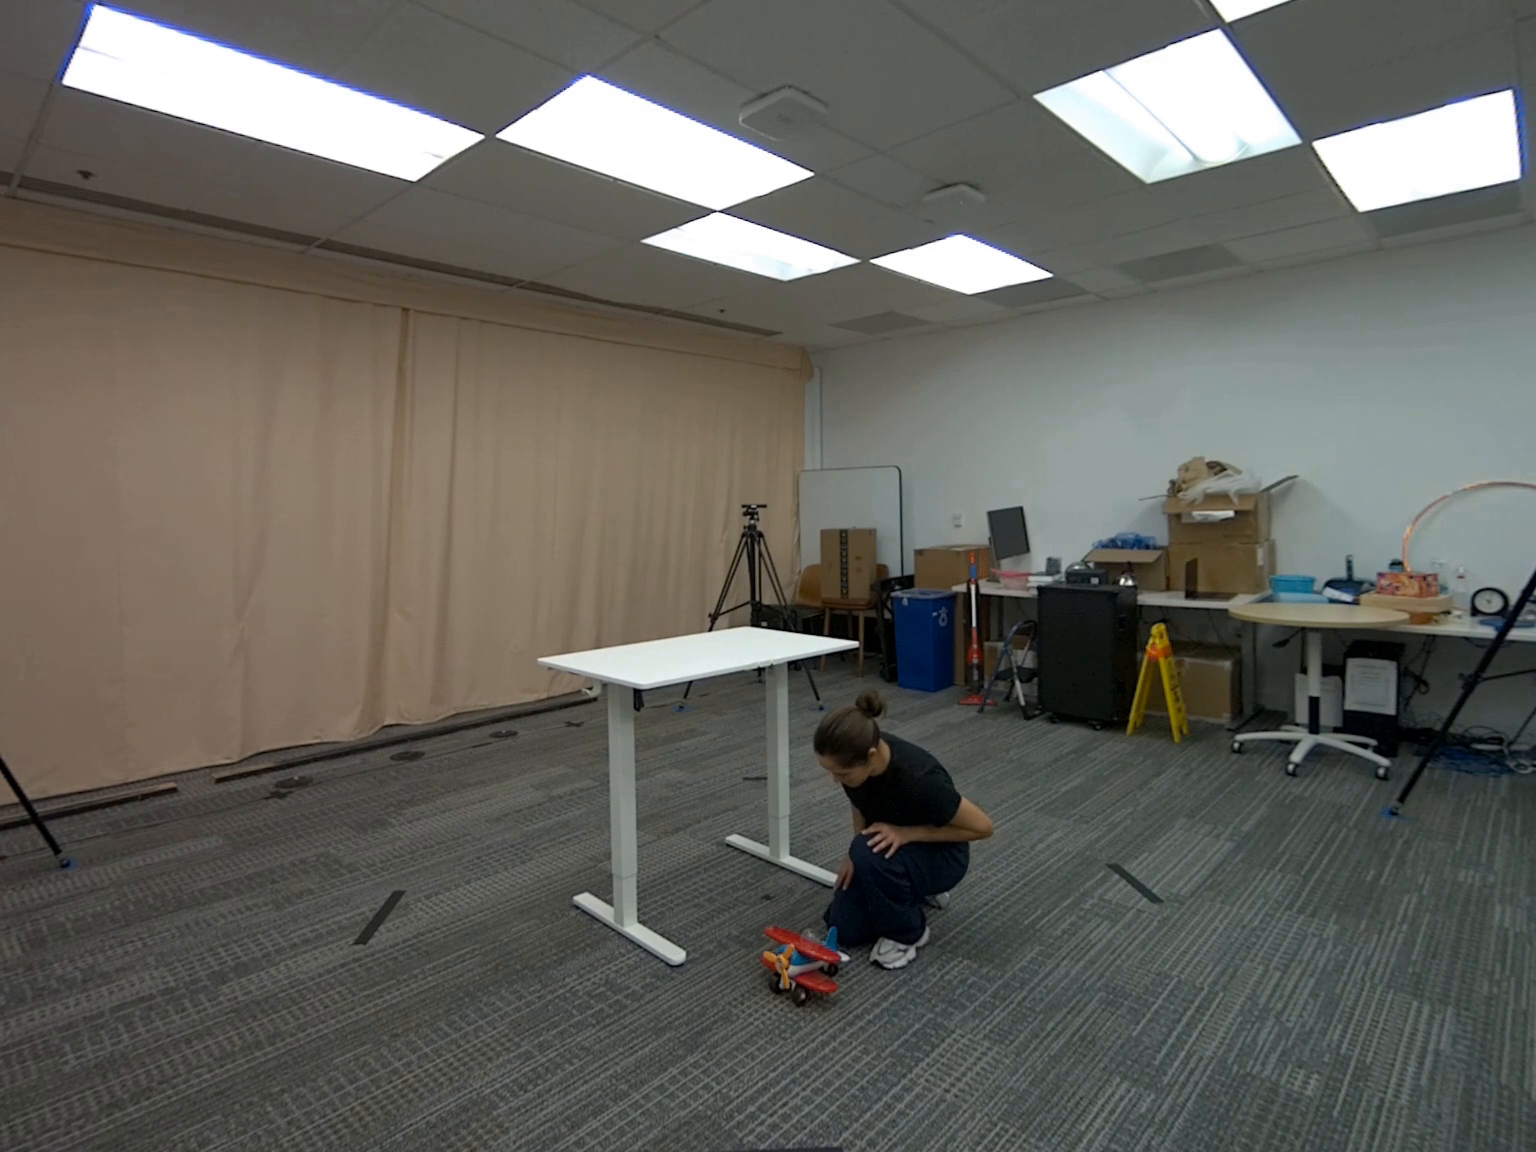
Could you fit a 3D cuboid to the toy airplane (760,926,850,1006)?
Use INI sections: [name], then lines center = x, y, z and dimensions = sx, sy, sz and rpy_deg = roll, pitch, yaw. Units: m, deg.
[toy airplane]
center = 0.117, 1.111, 2.437
dimensions = 0.255, 0.156, 0.255
rpy_deg = -1, 5, 15
